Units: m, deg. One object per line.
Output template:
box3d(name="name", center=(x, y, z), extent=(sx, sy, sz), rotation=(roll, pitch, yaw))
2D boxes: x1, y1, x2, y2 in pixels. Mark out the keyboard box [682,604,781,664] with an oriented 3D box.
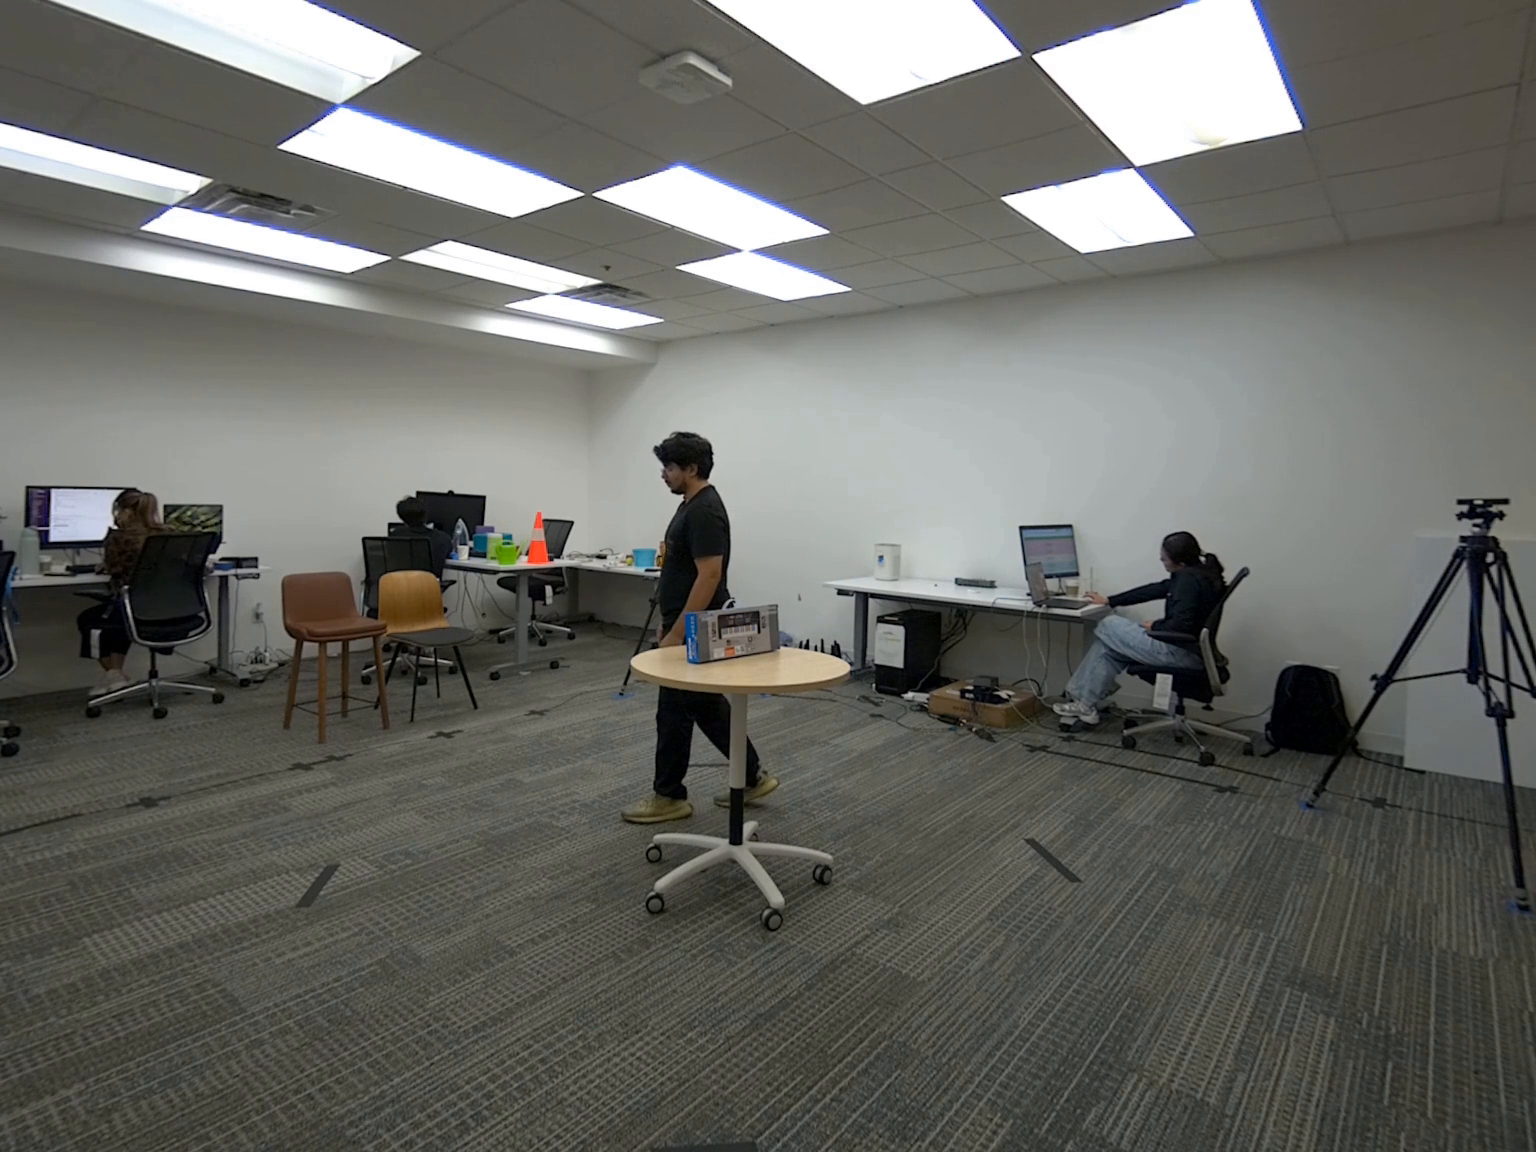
box3d(name="keyboard box", center=(-0.129, 0.202, 3.096), extent=(0.061, 0.176, 0.423), rotation=(-5, -1, 42))
